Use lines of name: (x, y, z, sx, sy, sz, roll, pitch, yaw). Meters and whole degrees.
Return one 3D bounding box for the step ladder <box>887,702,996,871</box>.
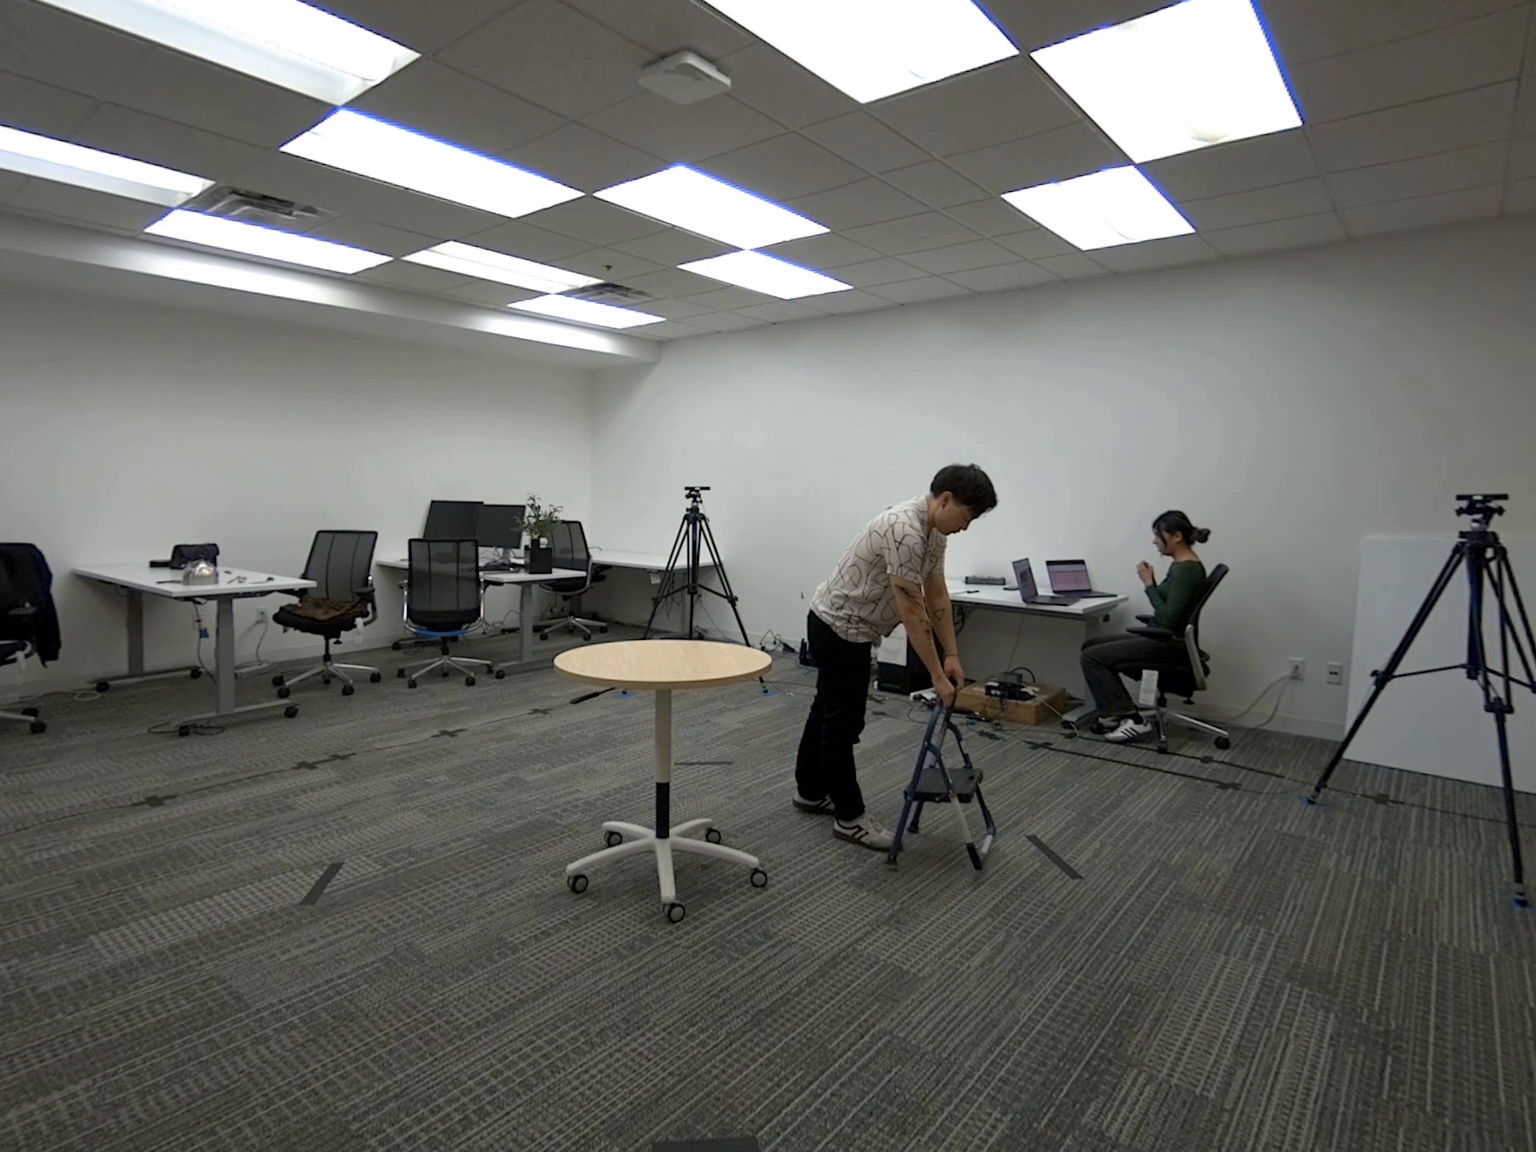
step ladder: (0.647, 0.727, 3.248, 0.357, 0.607, 0.421, -4, 0, 22)
